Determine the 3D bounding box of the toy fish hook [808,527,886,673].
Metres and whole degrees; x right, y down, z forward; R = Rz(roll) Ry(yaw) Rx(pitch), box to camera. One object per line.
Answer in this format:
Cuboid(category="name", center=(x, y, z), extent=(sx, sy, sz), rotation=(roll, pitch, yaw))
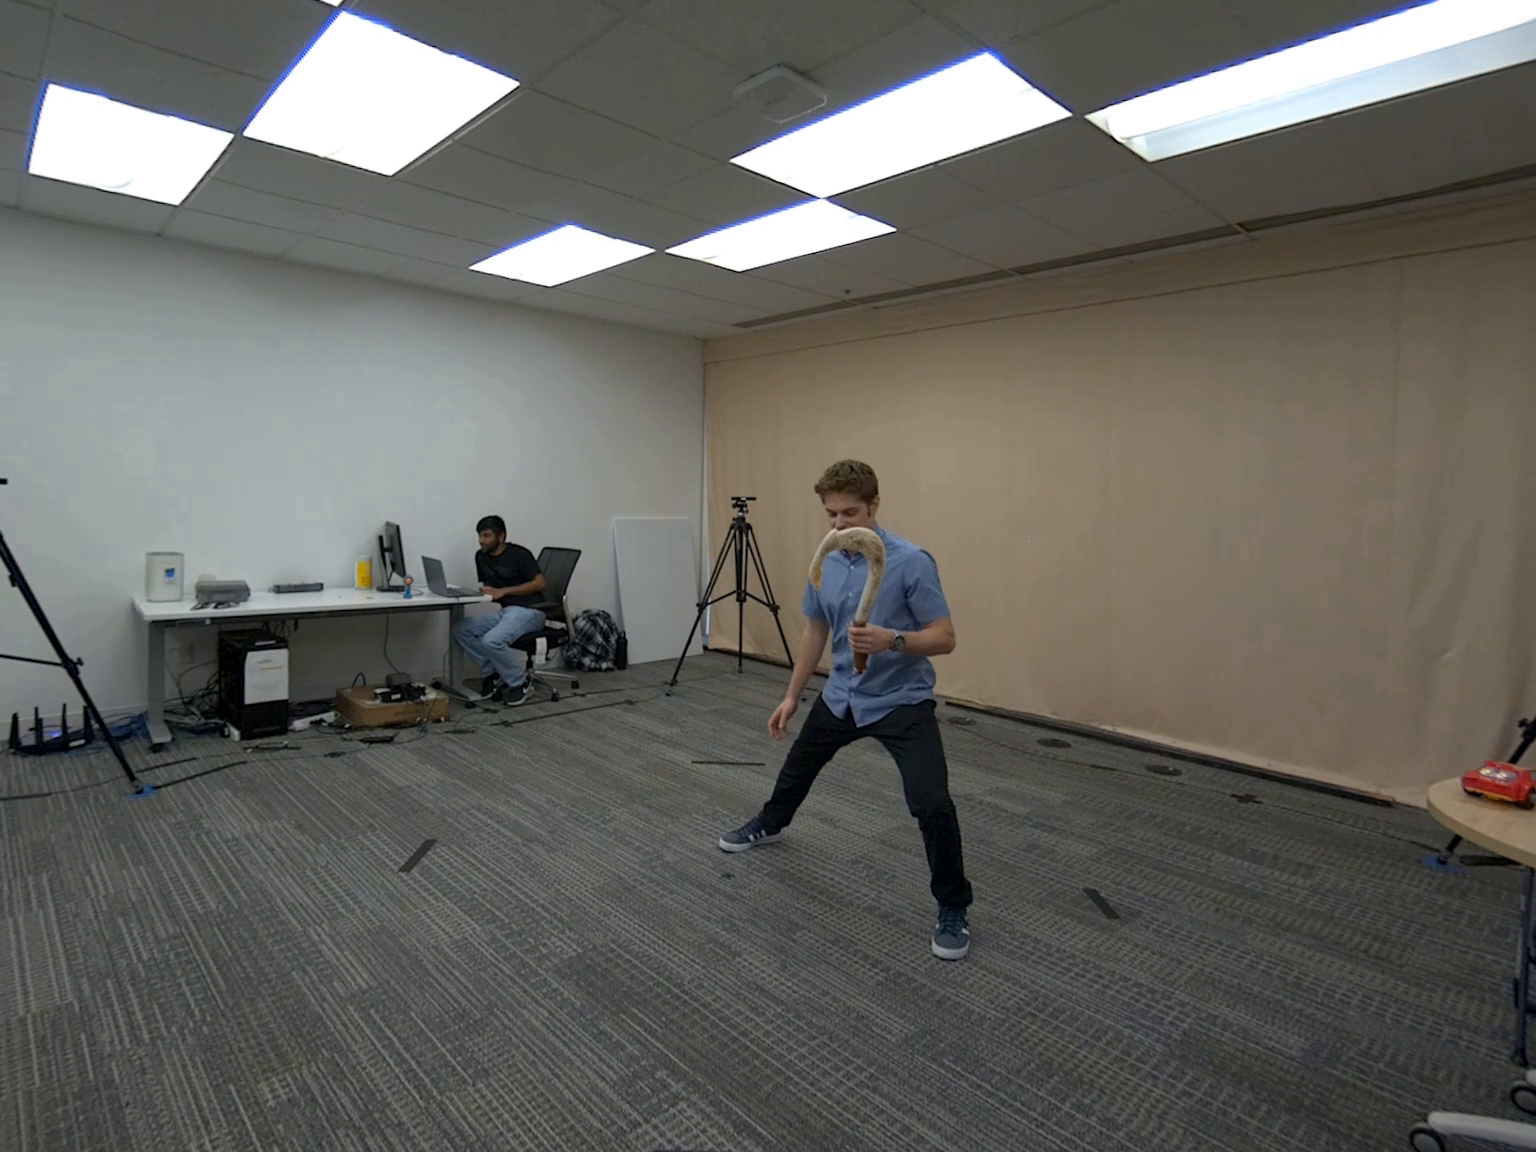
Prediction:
Cuboid(category="toy fish hook", center=(0.213, 0.083, 2.512), extent=(0.224, 0.497, 0.049), rotation=(-5, 25, -4))
